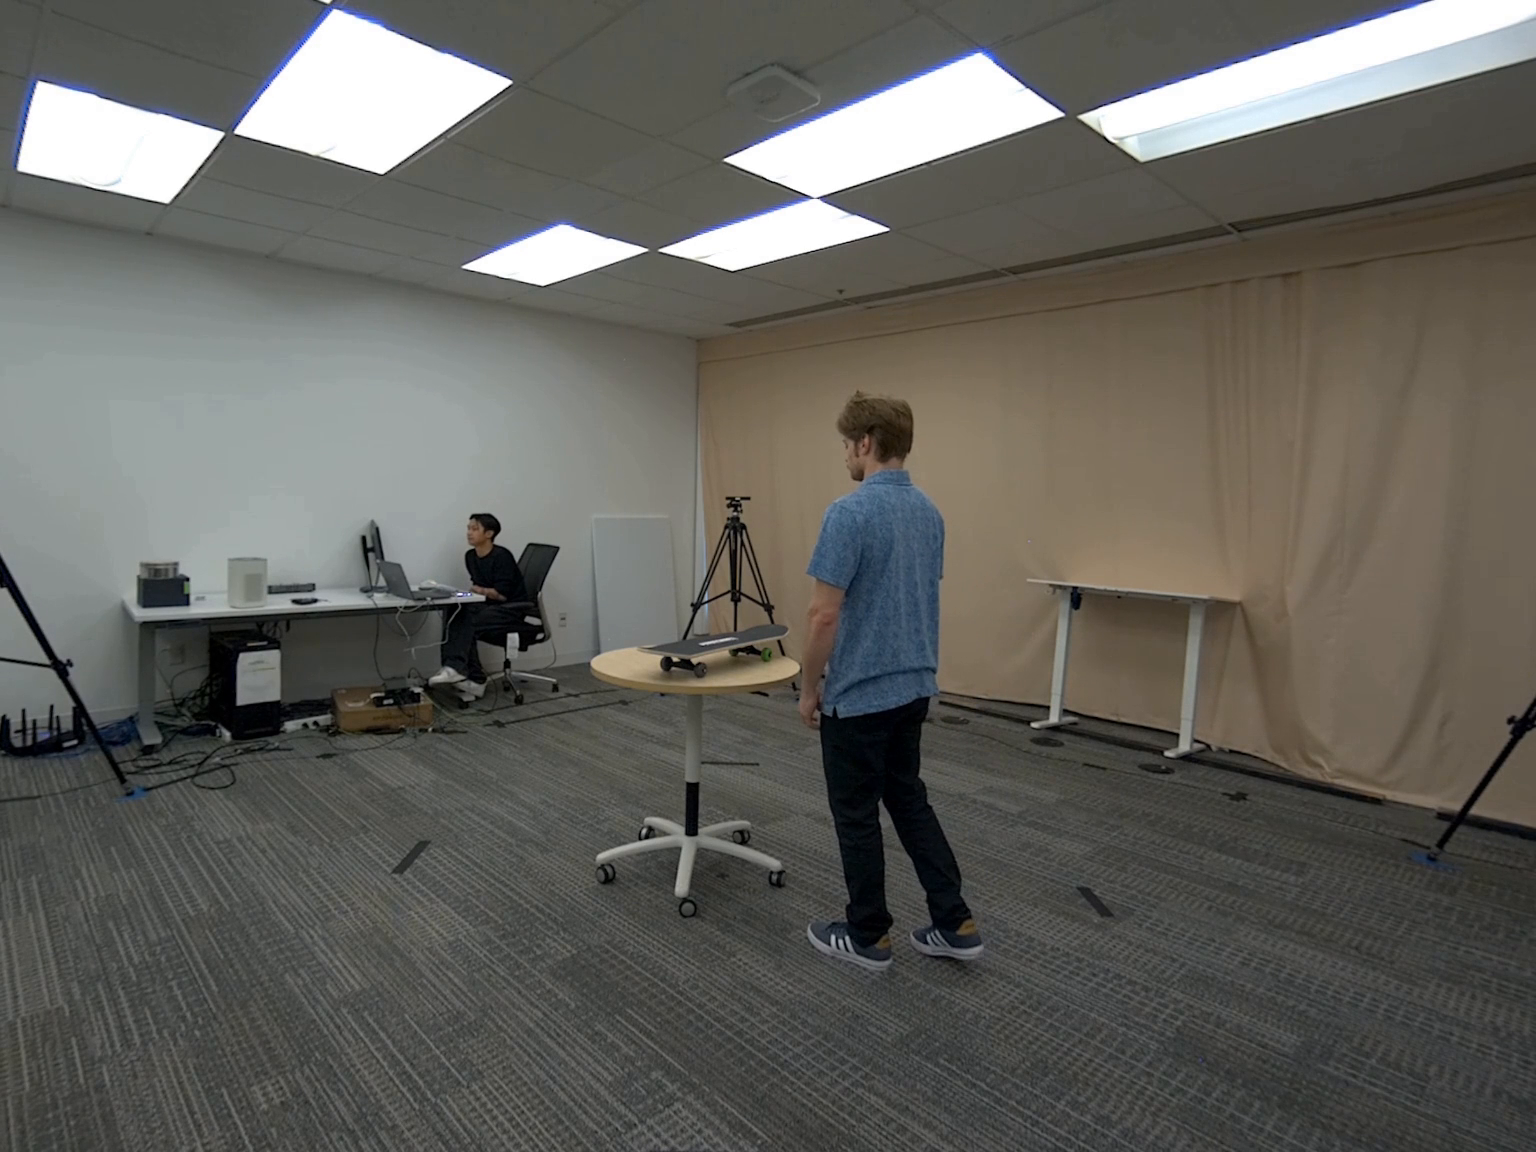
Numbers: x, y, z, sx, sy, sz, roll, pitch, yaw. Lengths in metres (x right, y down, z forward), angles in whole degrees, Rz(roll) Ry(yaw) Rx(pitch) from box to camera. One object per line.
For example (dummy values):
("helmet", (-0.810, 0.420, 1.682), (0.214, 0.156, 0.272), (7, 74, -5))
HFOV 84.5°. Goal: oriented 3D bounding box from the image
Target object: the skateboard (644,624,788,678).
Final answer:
("skateboard", (-0.188, 0.281, 3.056), (0.198, 0.110, 0.769), (5, 7, 34))
